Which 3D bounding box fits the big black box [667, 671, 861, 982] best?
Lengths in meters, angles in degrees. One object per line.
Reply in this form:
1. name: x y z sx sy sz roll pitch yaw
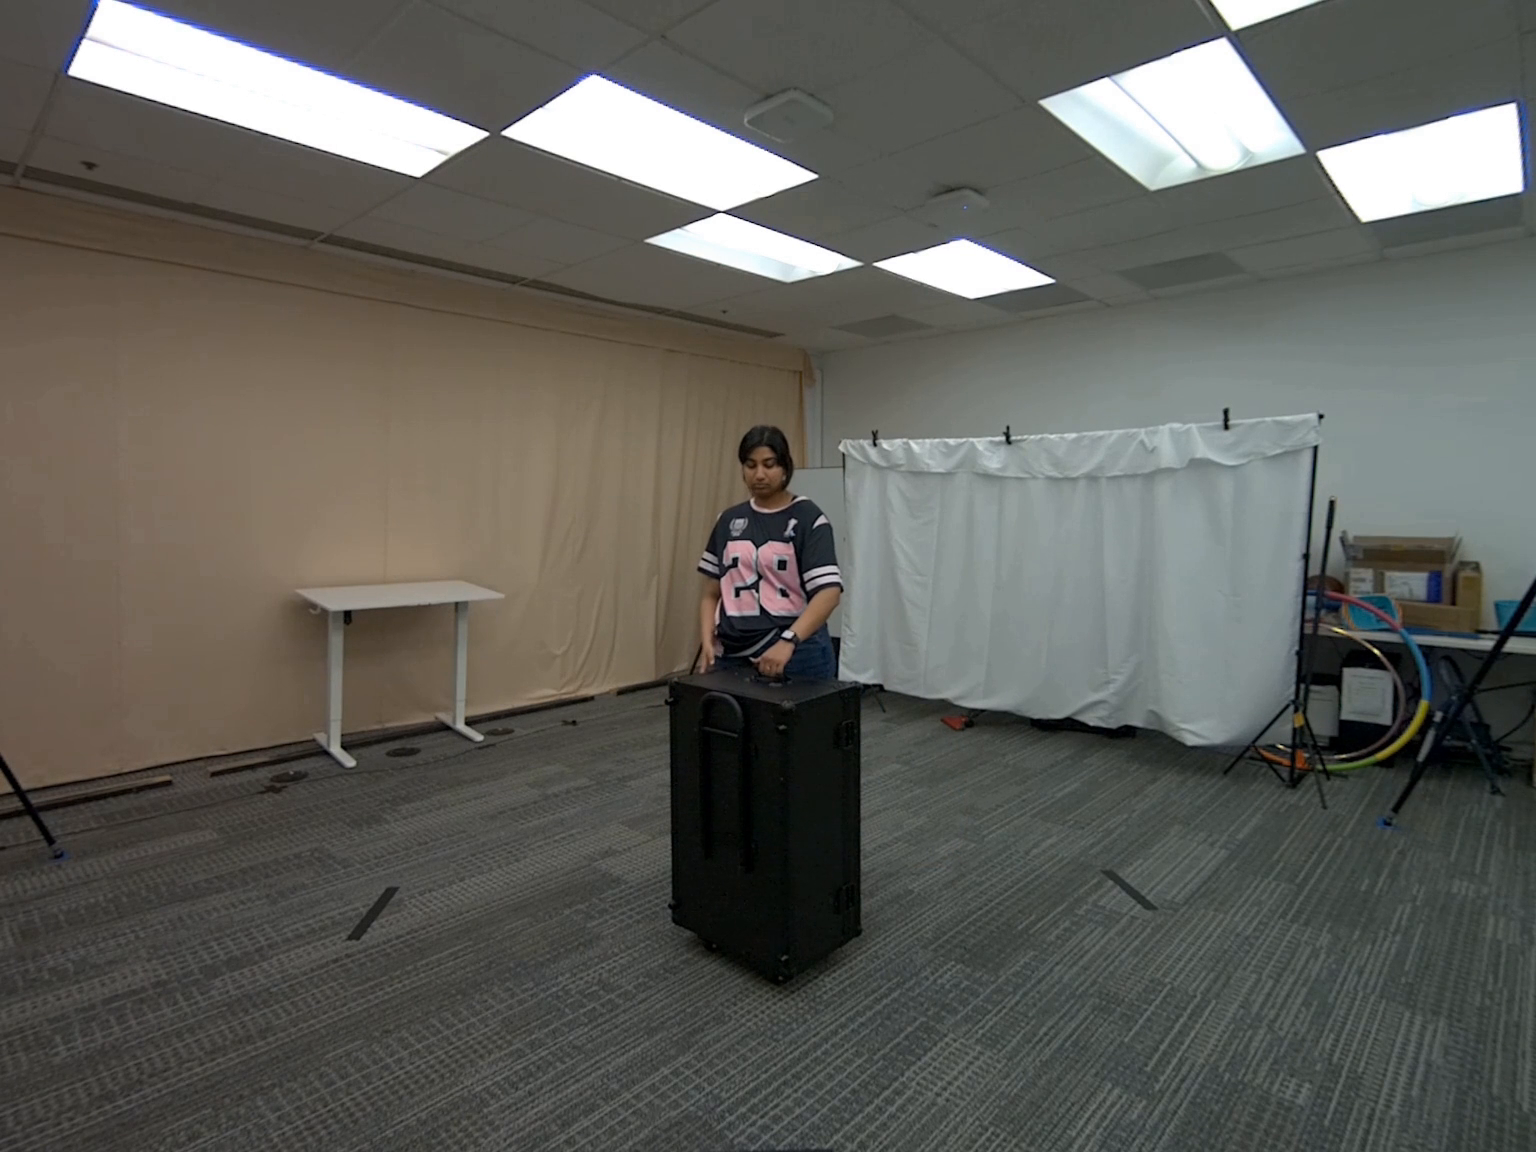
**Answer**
1. big black box: -0.003 0.754 2.604 0.541 0.866 0.373 3 5 42
